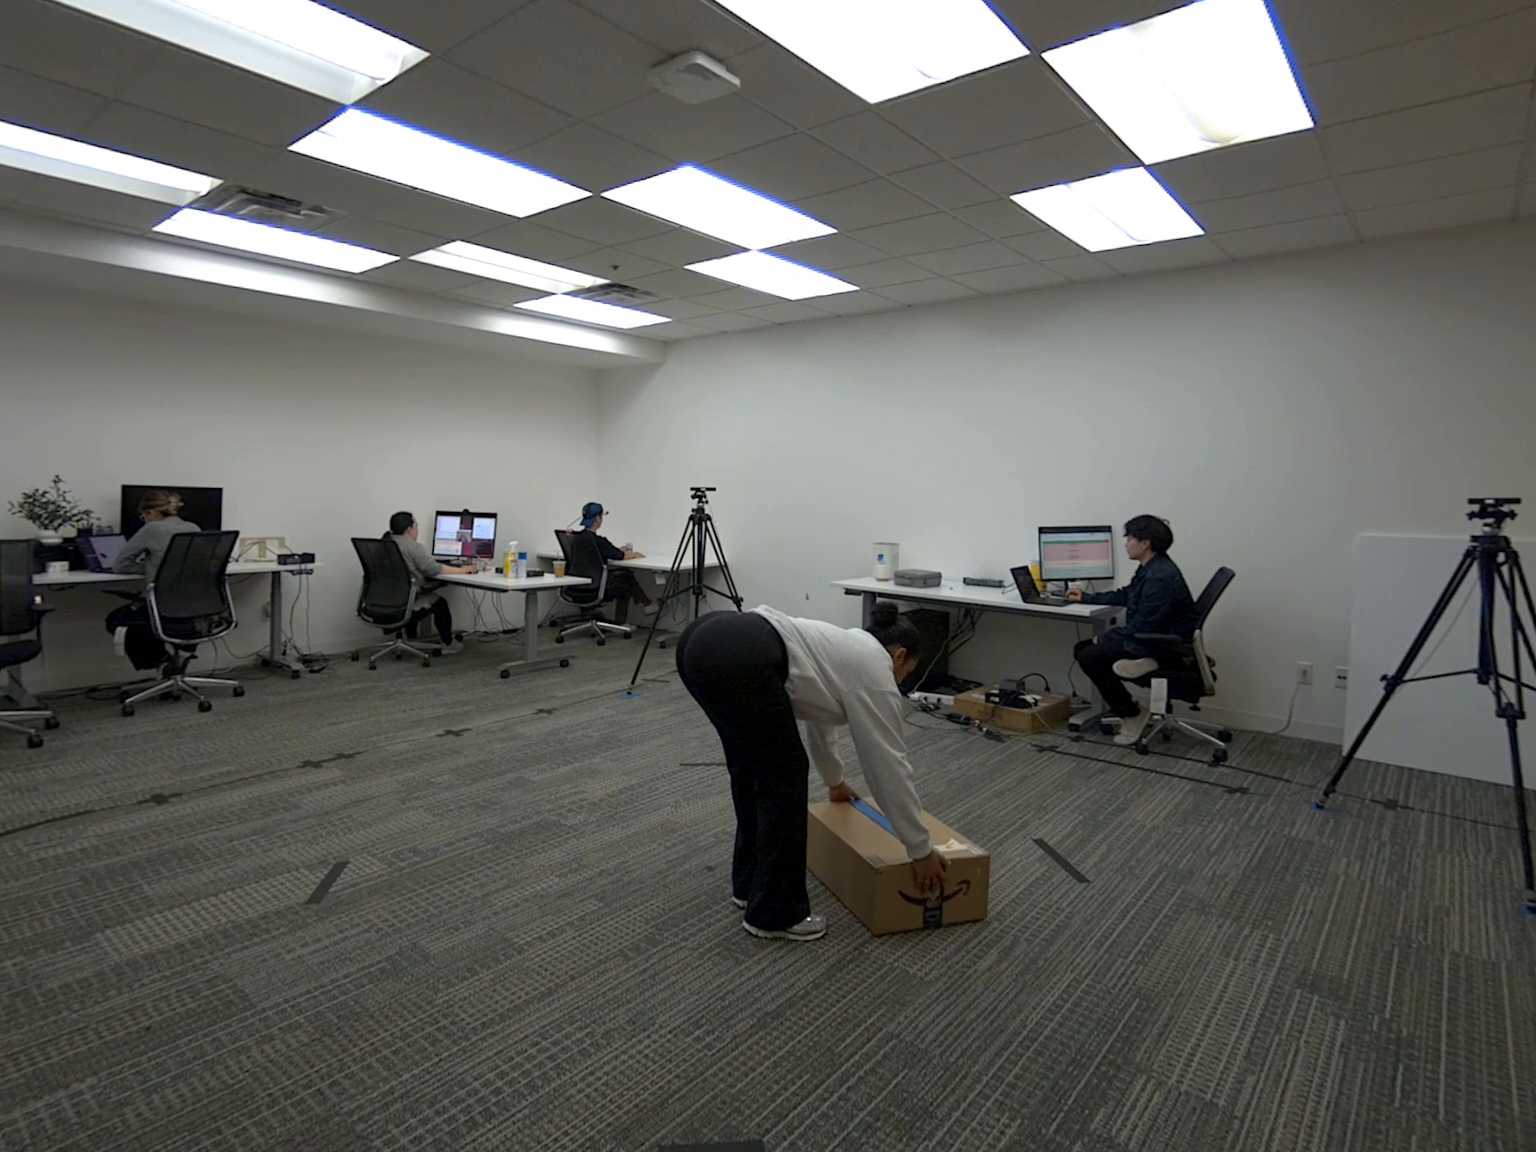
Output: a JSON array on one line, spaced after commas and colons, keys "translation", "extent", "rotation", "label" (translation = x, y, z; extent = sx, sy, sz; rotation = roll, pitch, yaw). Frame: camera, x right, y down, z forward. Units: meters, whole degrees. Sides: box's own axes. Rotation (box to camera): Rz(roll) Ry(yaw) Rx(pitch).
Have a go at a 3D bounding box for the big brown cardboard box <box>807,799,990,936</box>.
[{"translation": [0.420, 0.964, 2.961], "extent": [0.409, 0.232, 0.603], "rotation": [-2, 5, -21], "label": "big brown cardboard box"}]
